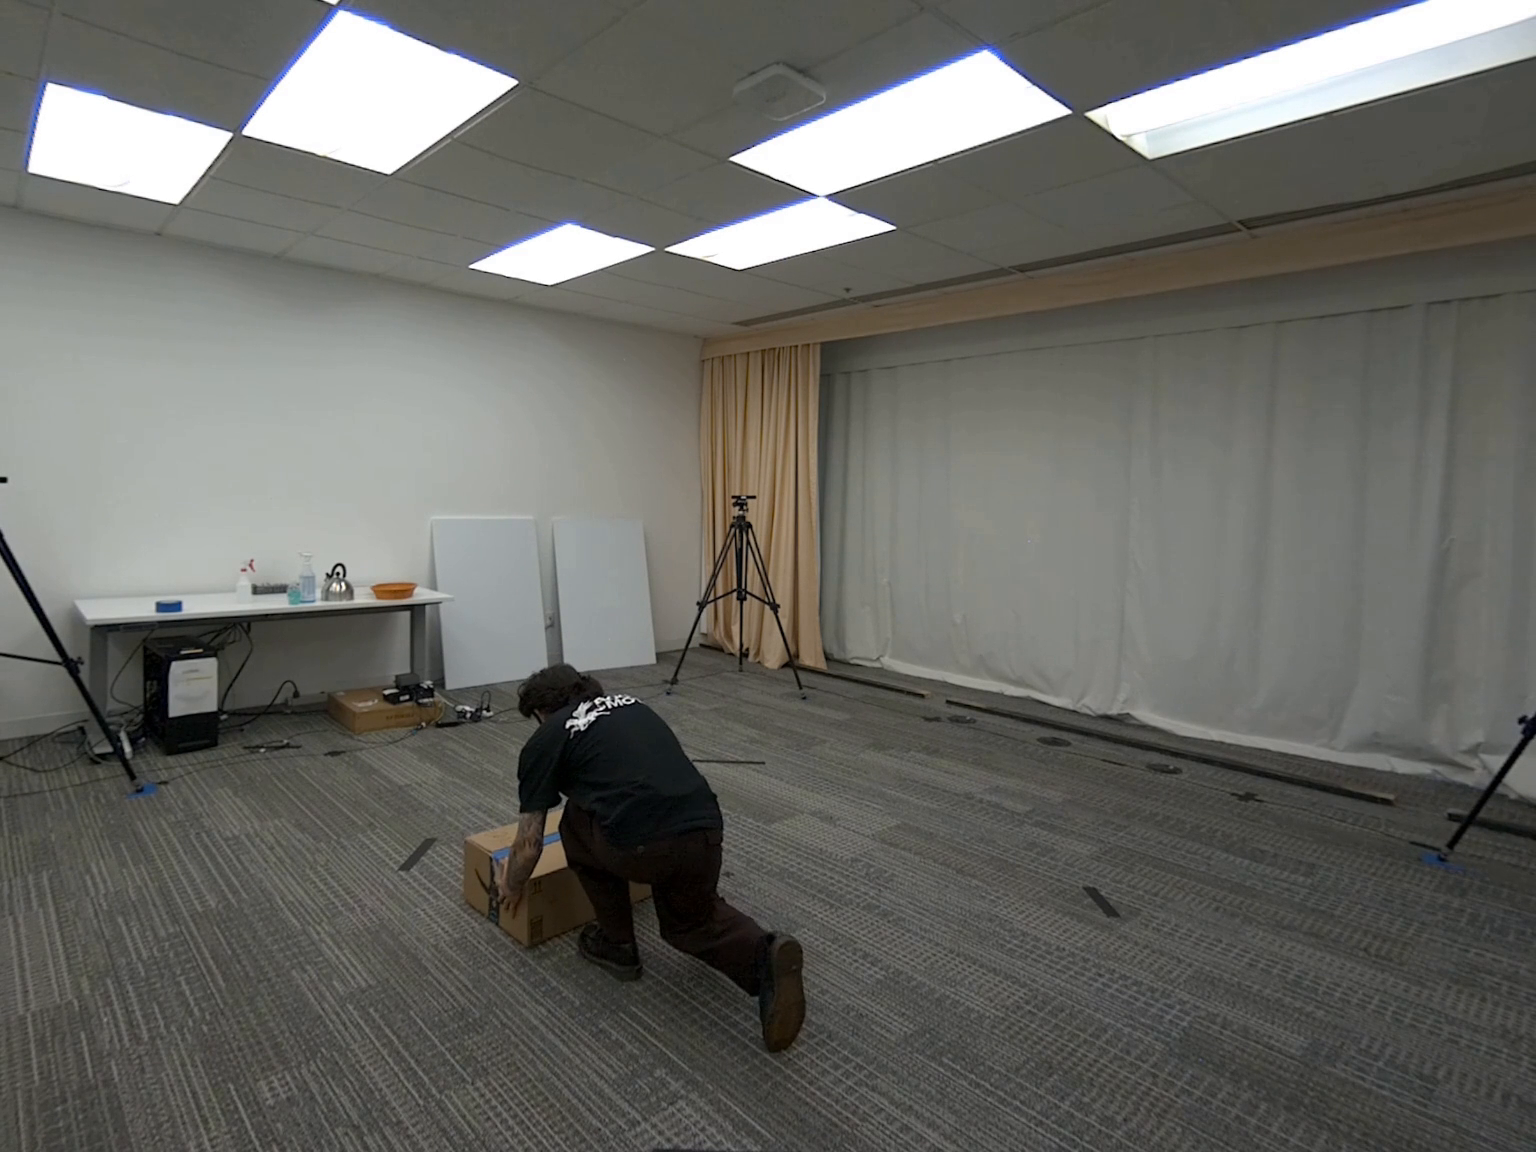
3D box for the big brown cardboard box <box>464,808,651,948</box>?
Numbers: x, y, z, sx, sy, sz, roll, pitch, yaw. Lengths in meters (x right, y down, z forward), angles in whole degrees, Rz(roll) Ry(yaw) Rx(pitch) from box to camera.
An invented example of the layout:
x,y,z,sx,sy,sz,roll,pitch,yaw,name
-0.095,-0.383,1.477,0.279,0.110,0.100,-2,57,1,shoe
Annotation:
x,y,z,sx,sy,sz,roll,pitch,yaw,name
-0.694,0.991,2.906,0.428,0.232,0.576,7,8,43,big brown cardboard box
